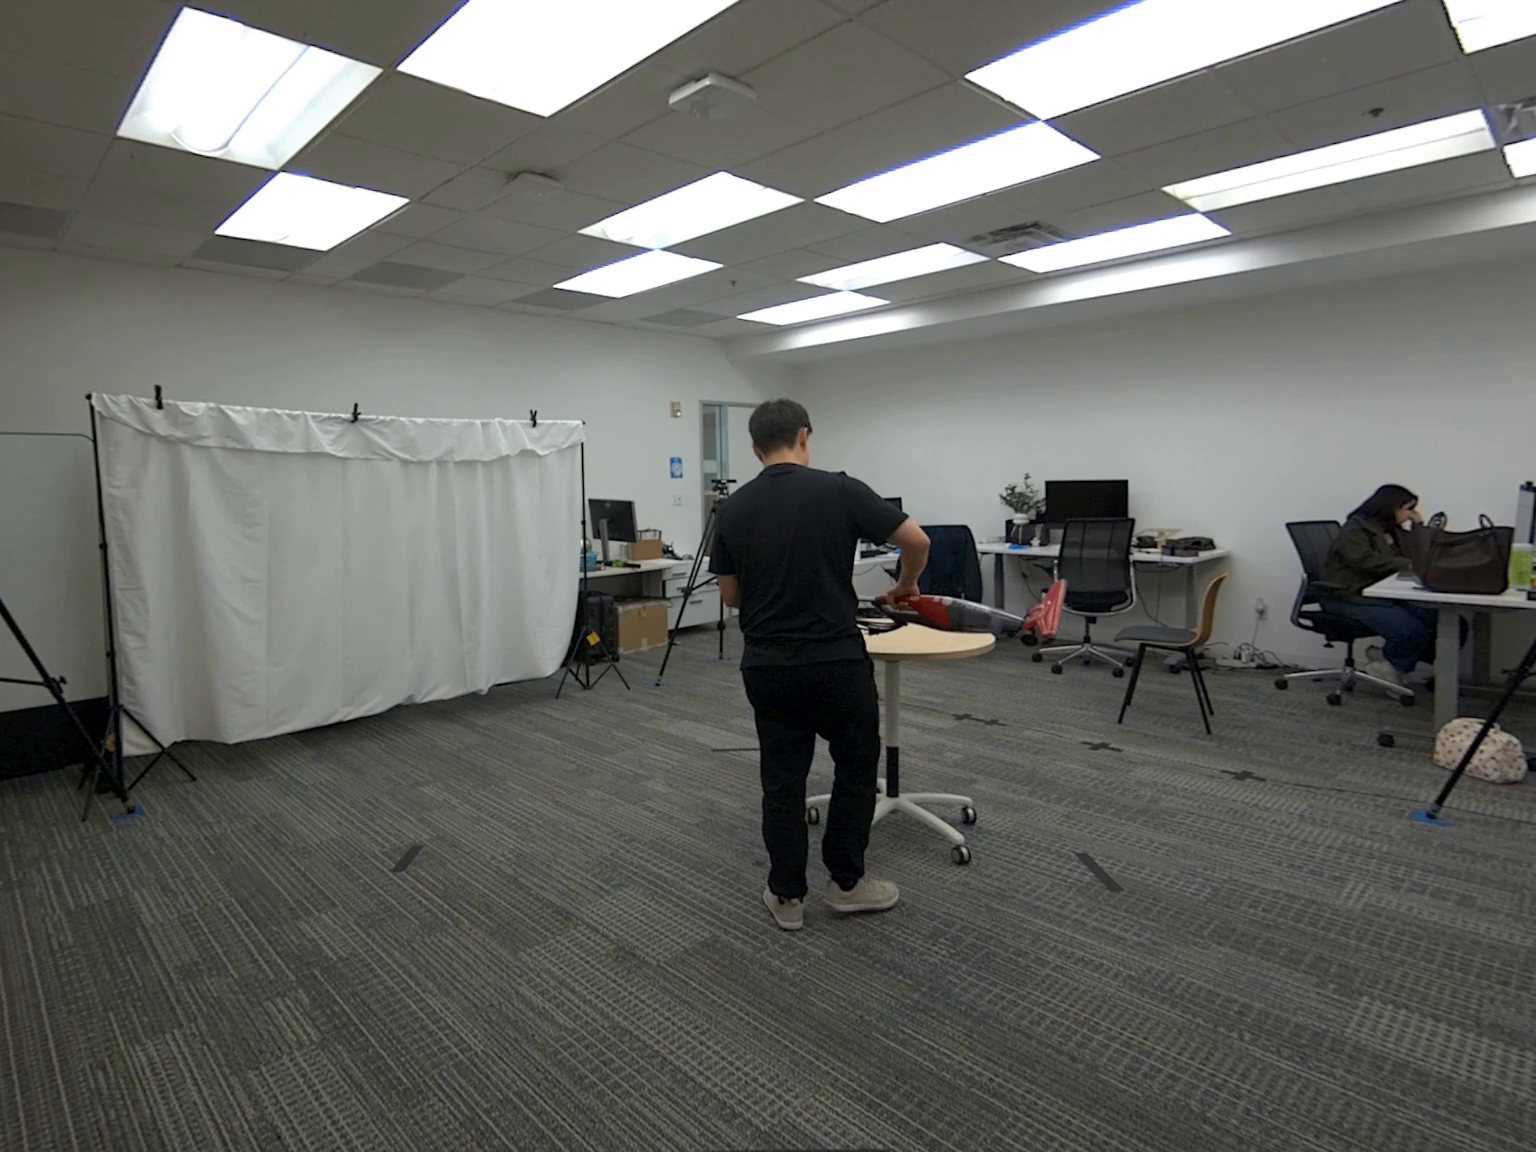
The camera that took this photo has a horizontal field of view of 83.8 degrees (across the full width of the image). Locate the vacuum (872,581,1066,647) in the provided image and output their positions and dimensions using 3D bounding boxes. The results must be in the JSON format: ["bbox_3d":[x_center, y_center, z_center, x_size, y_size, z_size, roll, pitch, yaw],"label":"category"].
[{"bbox_3d":[0.389,0.123,2.825,1.077,0.139,0.254,2,42,30],"label":"vacuum"}]
